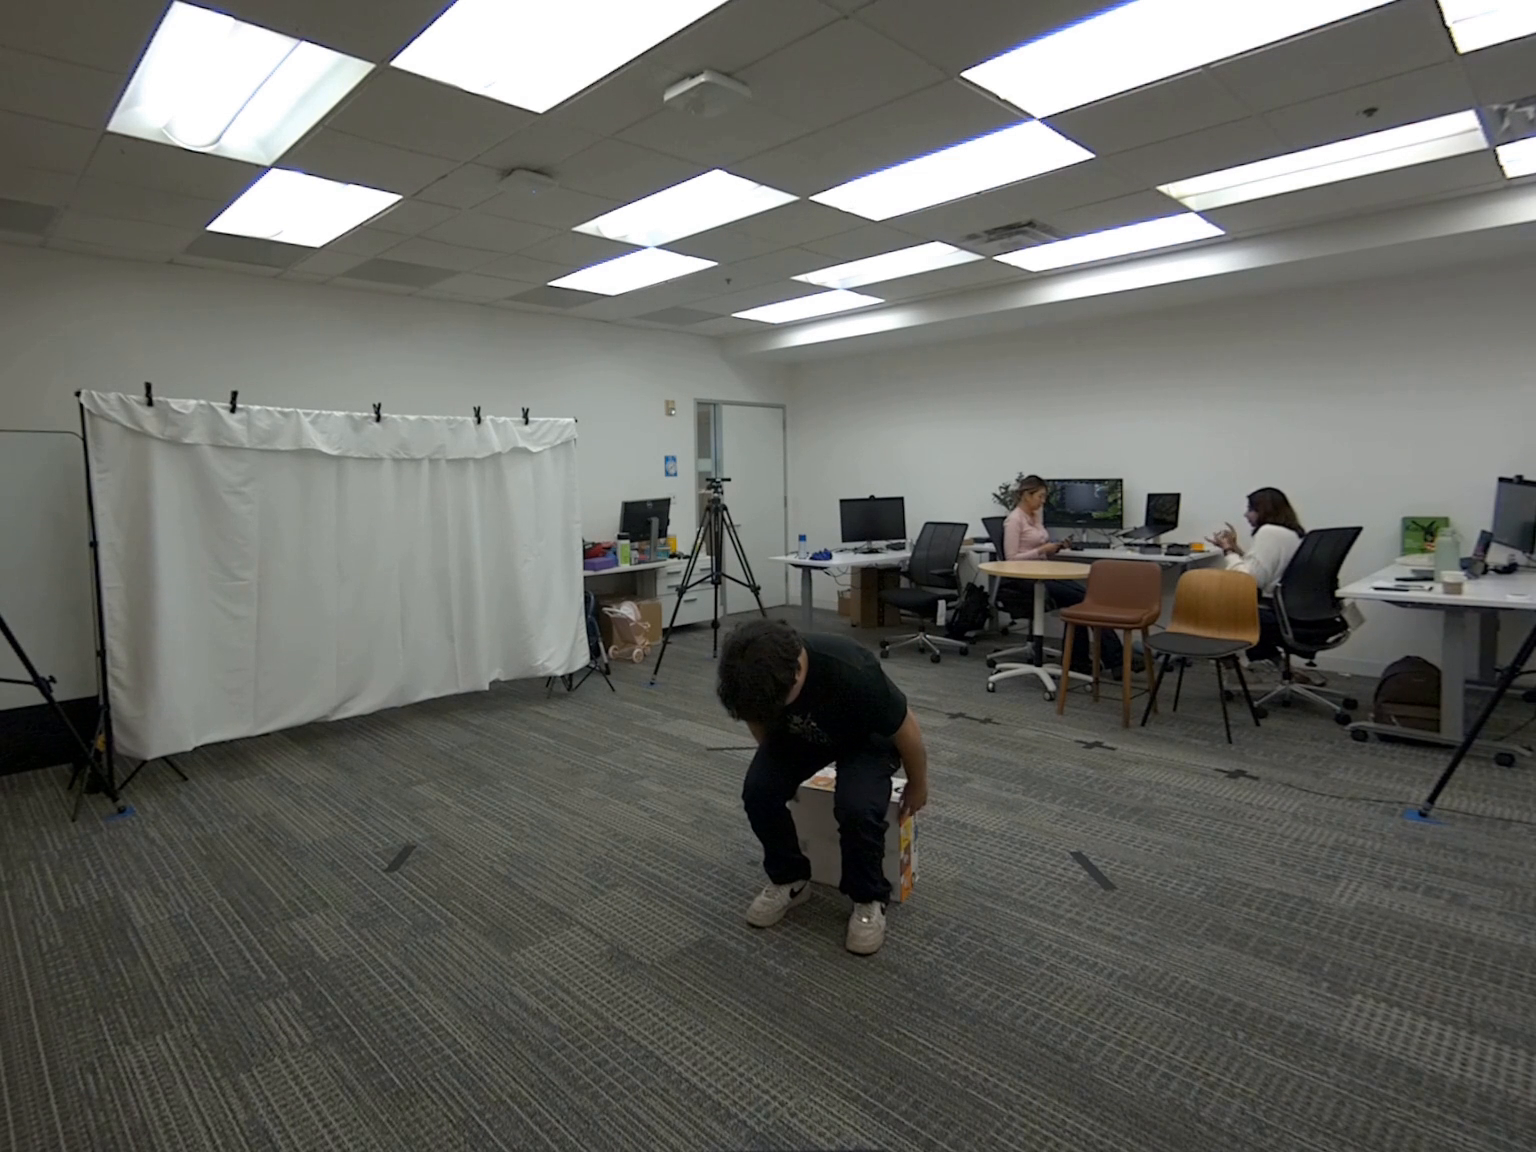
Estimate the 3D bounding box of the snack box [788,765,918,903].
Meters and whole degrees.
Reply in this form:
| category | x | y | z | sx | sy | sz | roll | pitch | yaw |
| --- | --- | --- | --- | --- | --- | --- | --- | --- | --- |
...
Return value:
| category | x | y | z | sx | sy | sz | roll | pitch | yaw |
| --- | --- | --- | --- | --- | --- | --- | --- | --- | --- |
| snack box | 0.298 | 0.883 | 2.969 | 0.415 | 0.339 | 0.201 | 1 | 4 | 28 |
